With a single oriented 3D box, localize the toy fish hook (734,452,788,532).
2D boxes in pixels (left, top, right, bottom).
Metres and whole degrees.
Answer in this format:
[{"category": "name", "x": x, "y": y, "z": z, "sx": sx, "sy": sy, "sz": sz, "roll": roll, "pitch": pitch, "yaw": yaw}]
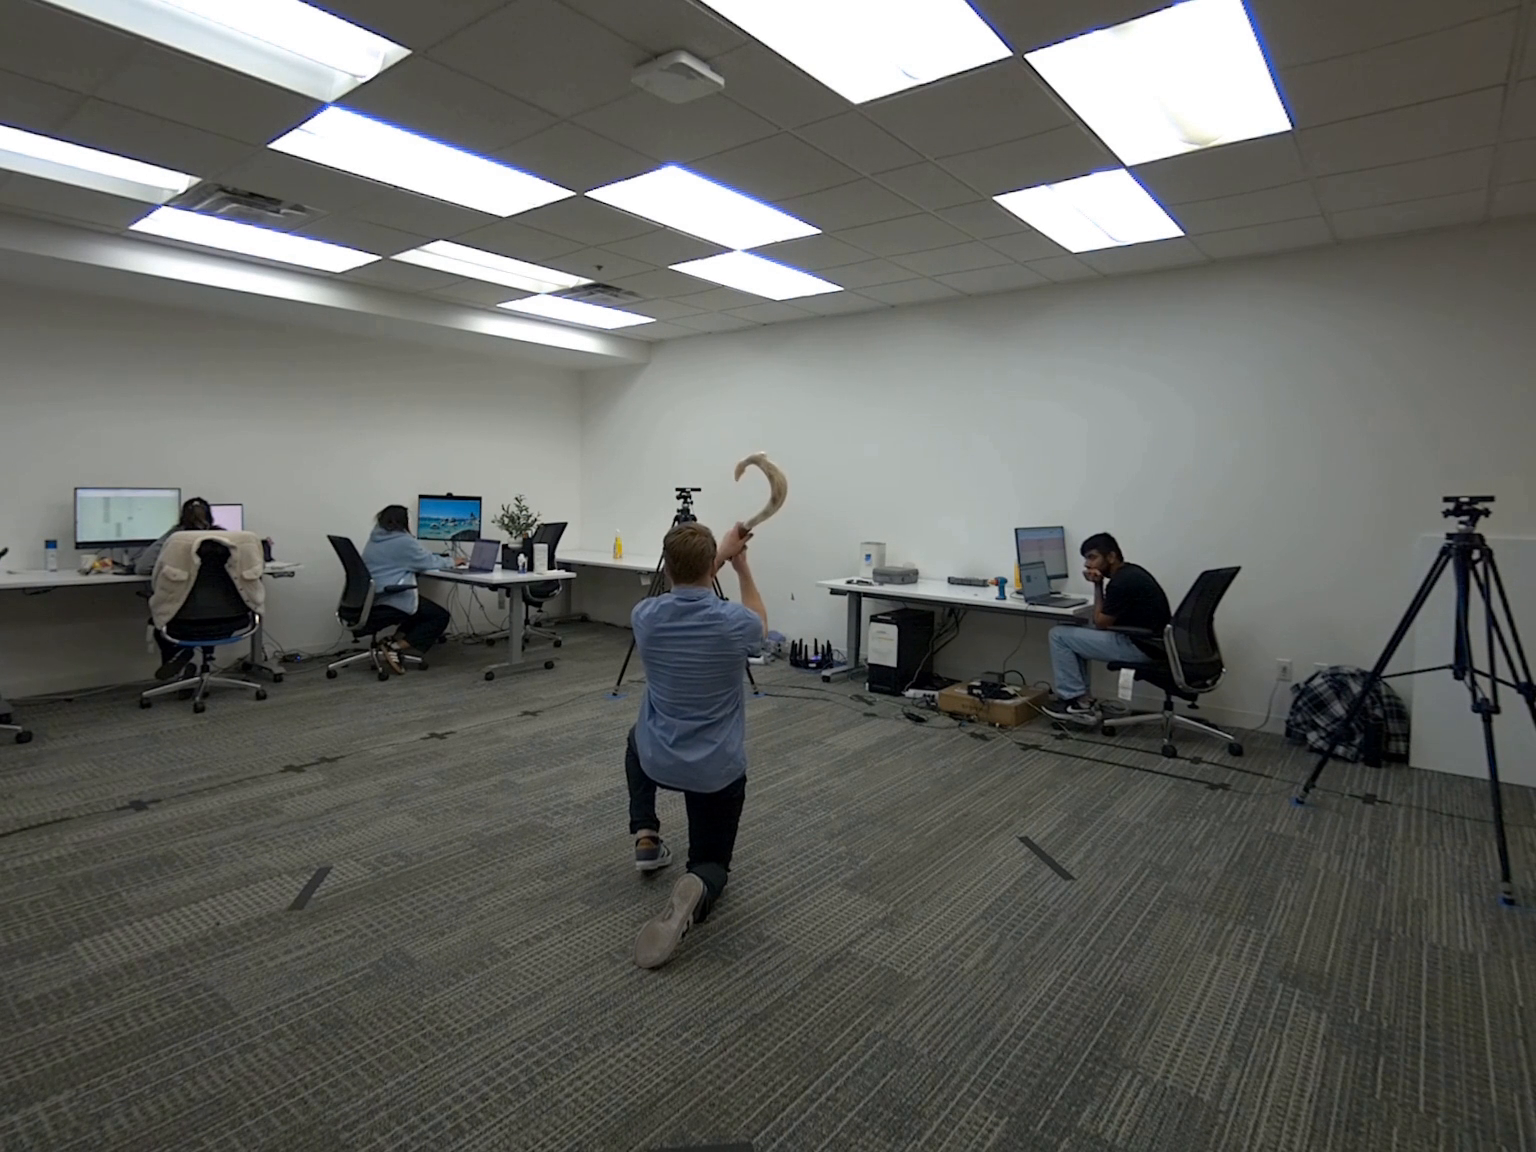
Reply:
[{"category": "toy fish hook", "x": -0.101, "y": -0.236, "z": 3.073, "sx": 0.047, "sy": 0.231, "sz": 0.503, "roll": -19, "pitch": -25, "yaw": -41}]
